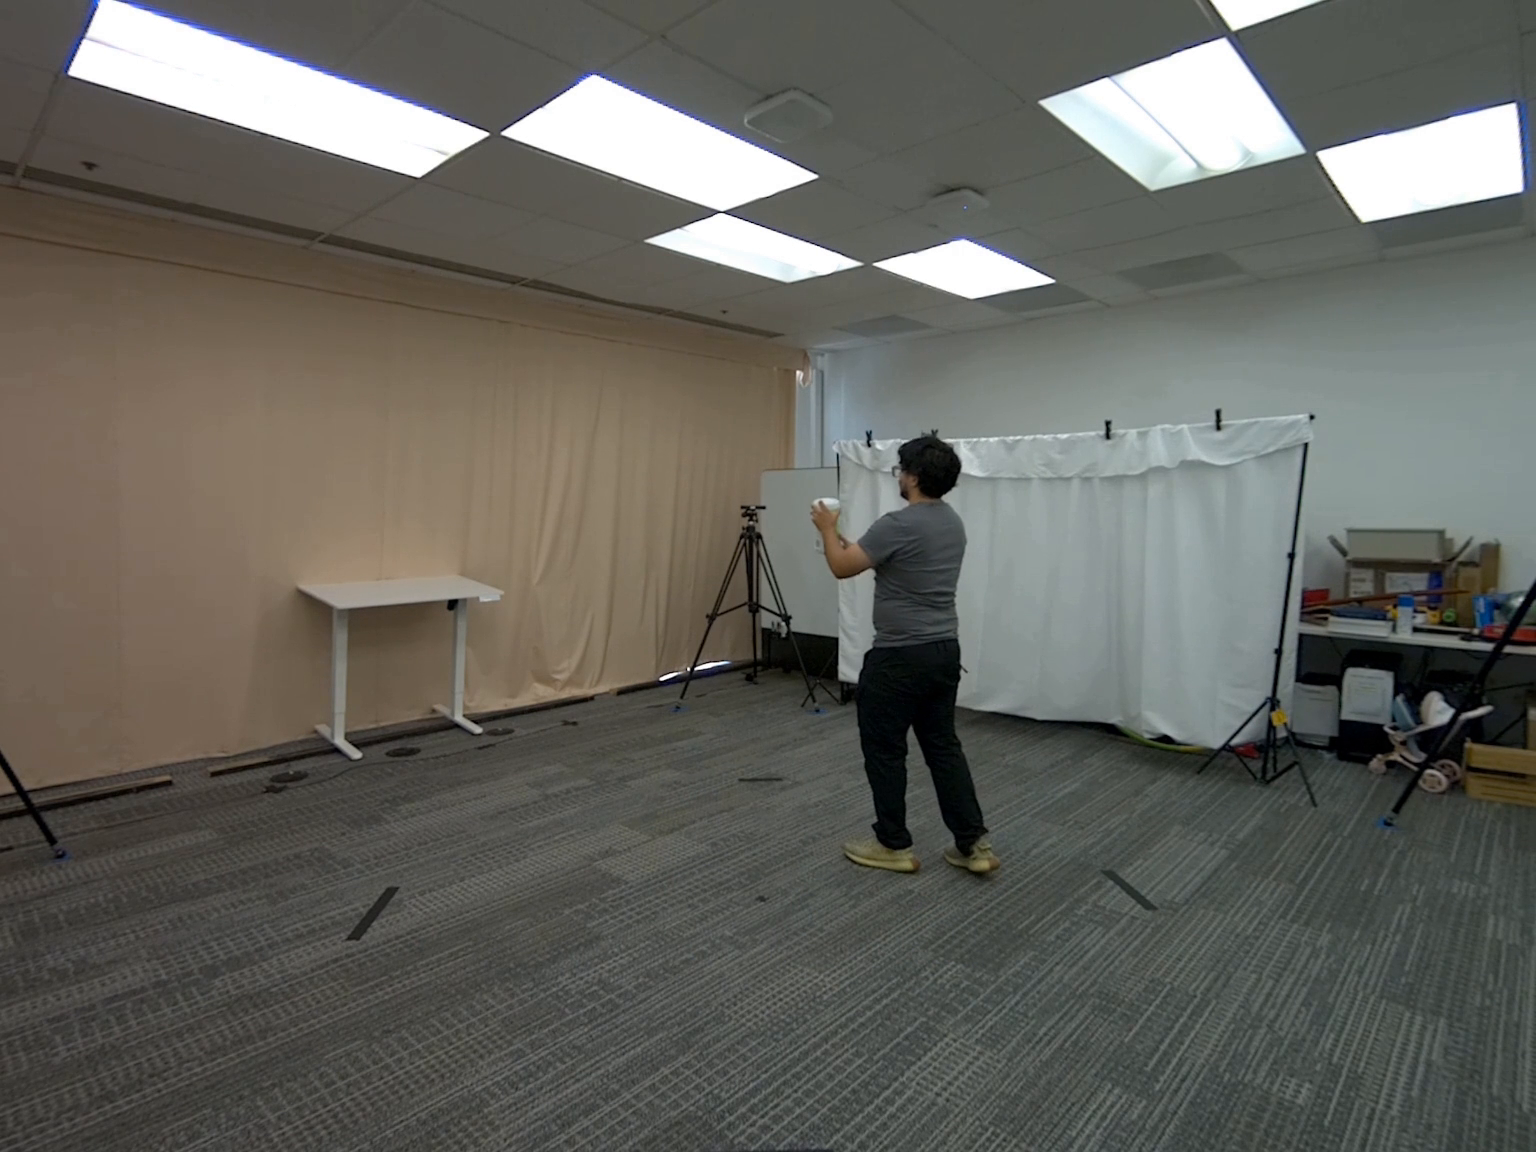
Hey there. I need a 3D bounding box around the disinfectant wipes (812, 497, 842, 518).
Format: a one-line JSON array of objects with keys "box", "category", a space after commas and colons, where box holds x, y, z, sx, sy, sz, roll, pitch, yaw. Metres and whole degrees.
[{"box": [0.245, -0.209, 3.482, 0.118, 0.215, 0.119, -2, 14, -1], "category": "disinfectant wipes"}]
